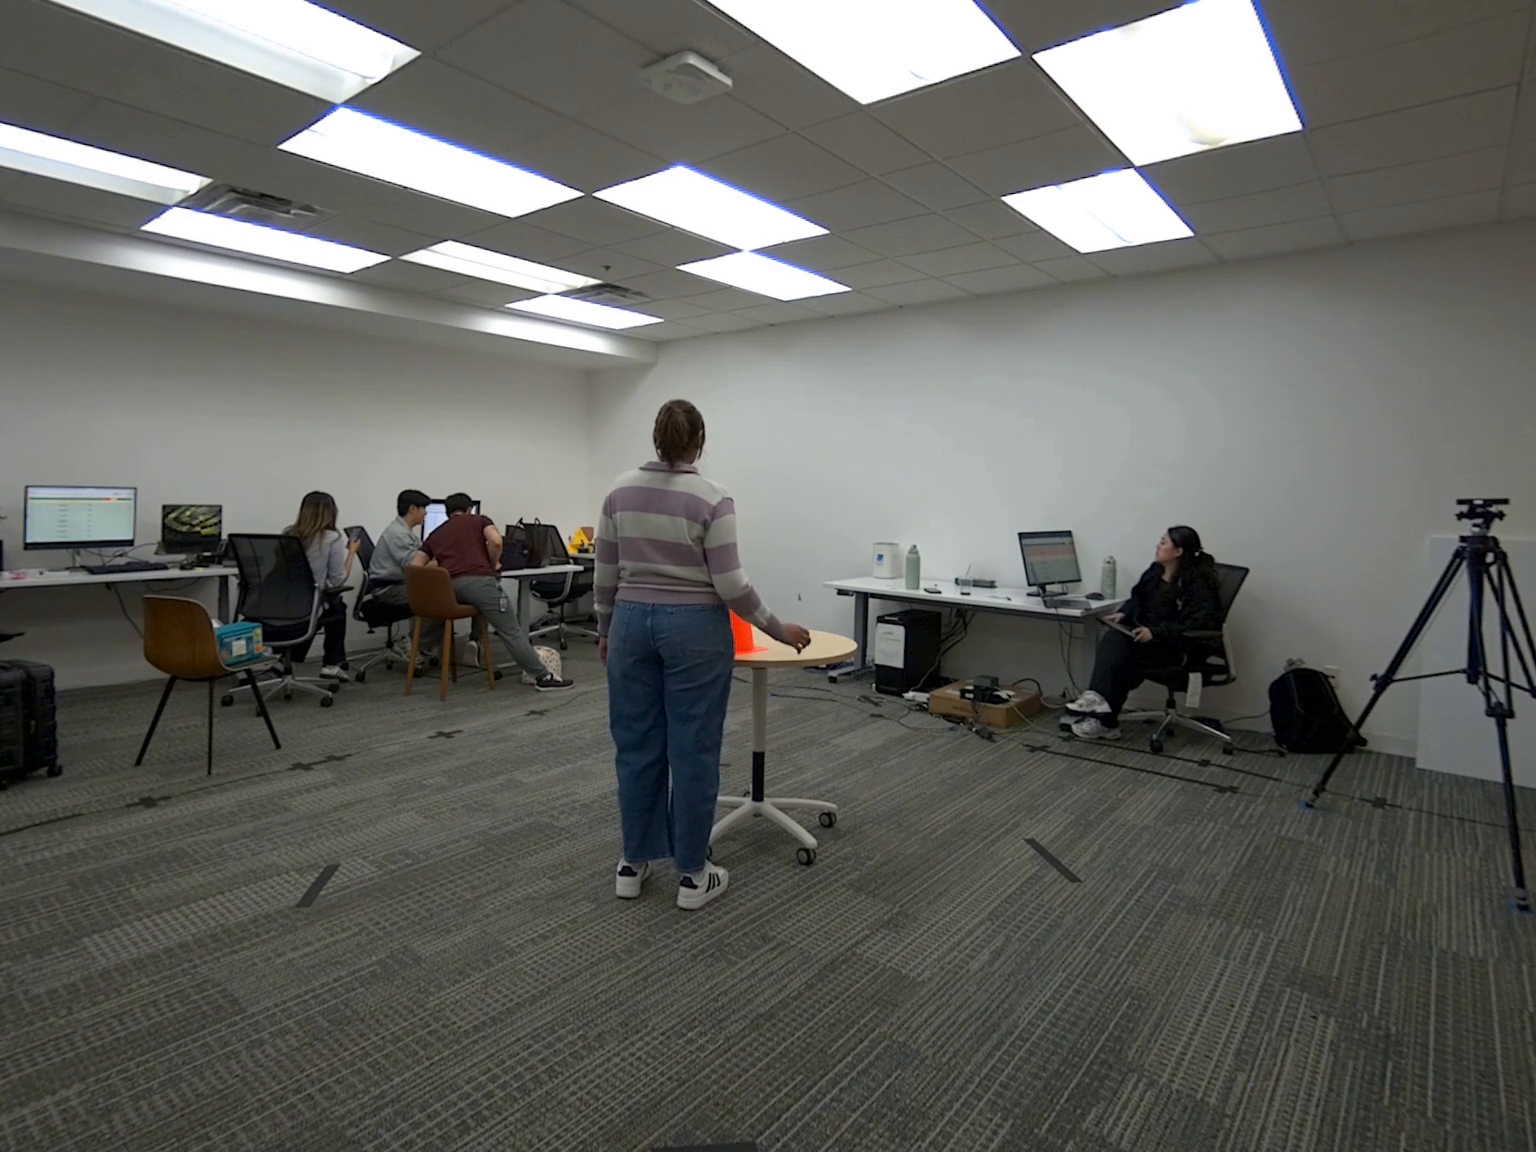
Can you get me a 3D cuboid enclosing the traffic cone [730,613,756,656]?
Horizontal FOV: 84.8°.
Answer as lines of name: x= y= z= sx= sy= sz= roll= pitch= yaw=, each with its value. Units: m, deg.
traffic cone: x=-0.138 y=0.088 z=3.230 sx=0.209 sy=0.383 sz=0.199 roll=0 pitch=3 yaw=35
